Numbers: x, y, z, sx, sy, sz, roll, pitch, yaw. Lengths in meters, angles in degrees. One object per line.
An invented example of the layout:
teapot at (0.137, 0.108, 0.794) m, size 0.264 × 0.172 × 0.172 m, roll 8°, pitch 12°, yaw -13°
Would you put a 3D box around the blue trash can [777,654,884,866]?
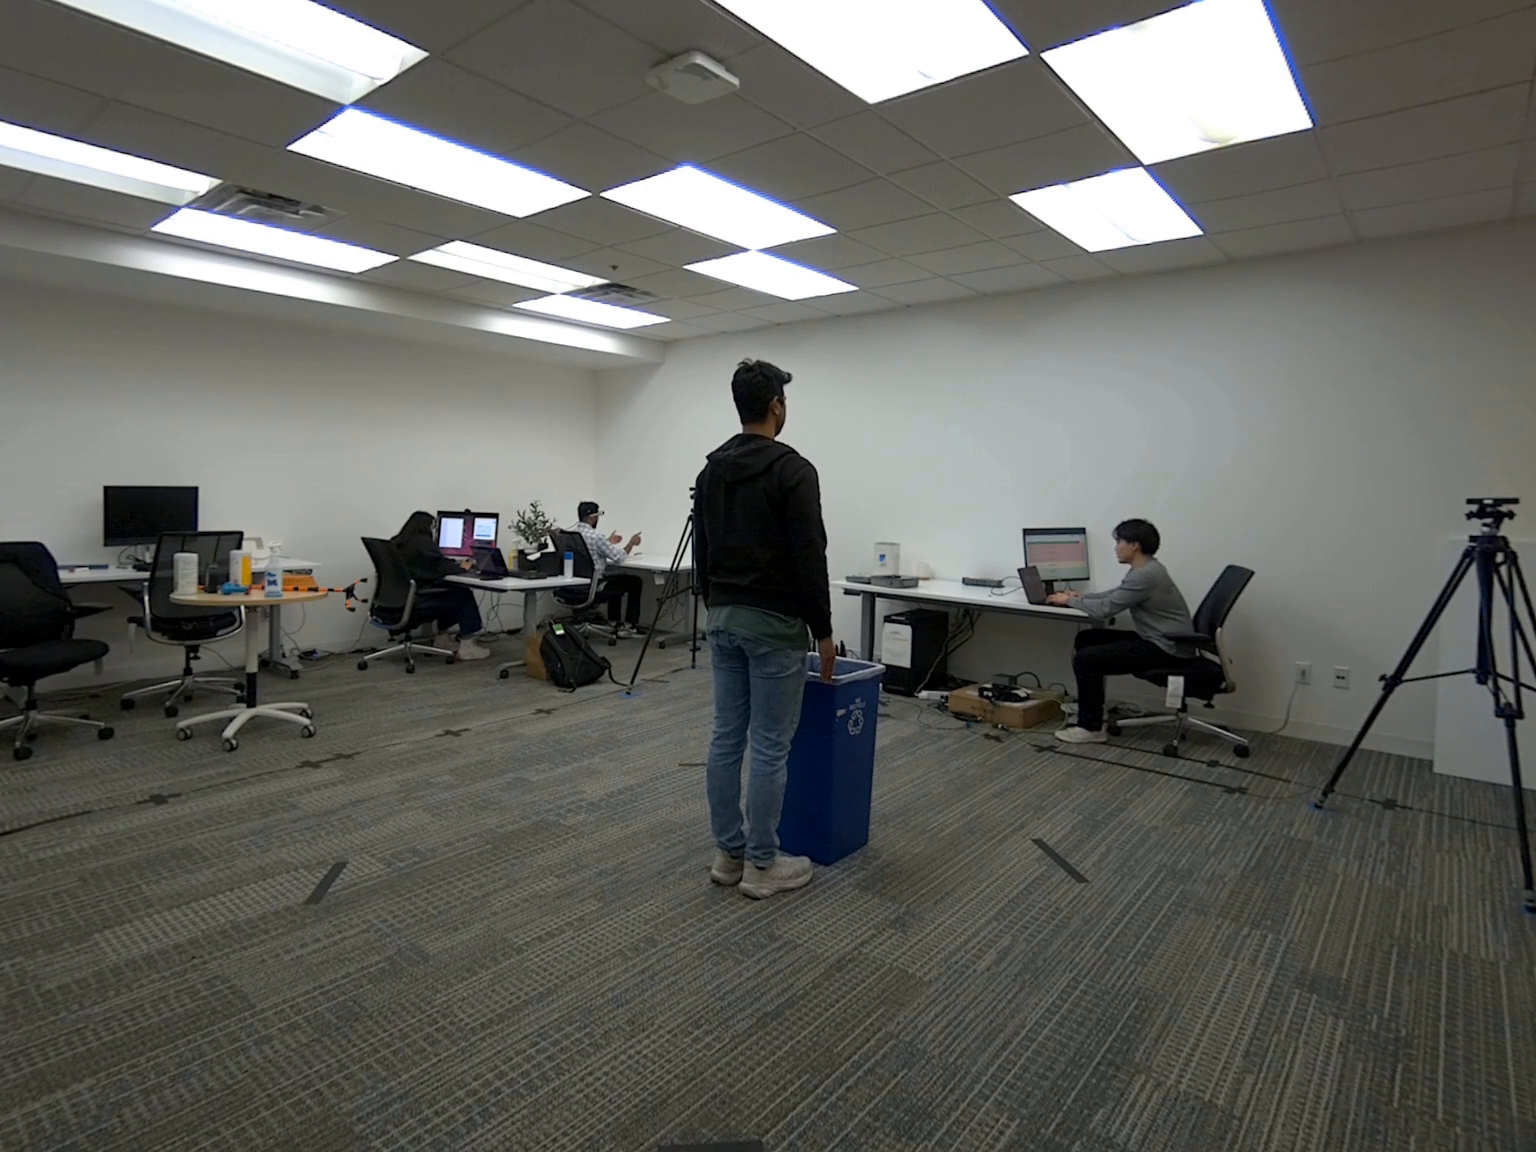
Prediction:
blue trash can at (0.199, 0.693, 3.338) m, size 0.391 × 0.711 × 0.363 m, roll 5°, pitch 5°, yaw 38°
